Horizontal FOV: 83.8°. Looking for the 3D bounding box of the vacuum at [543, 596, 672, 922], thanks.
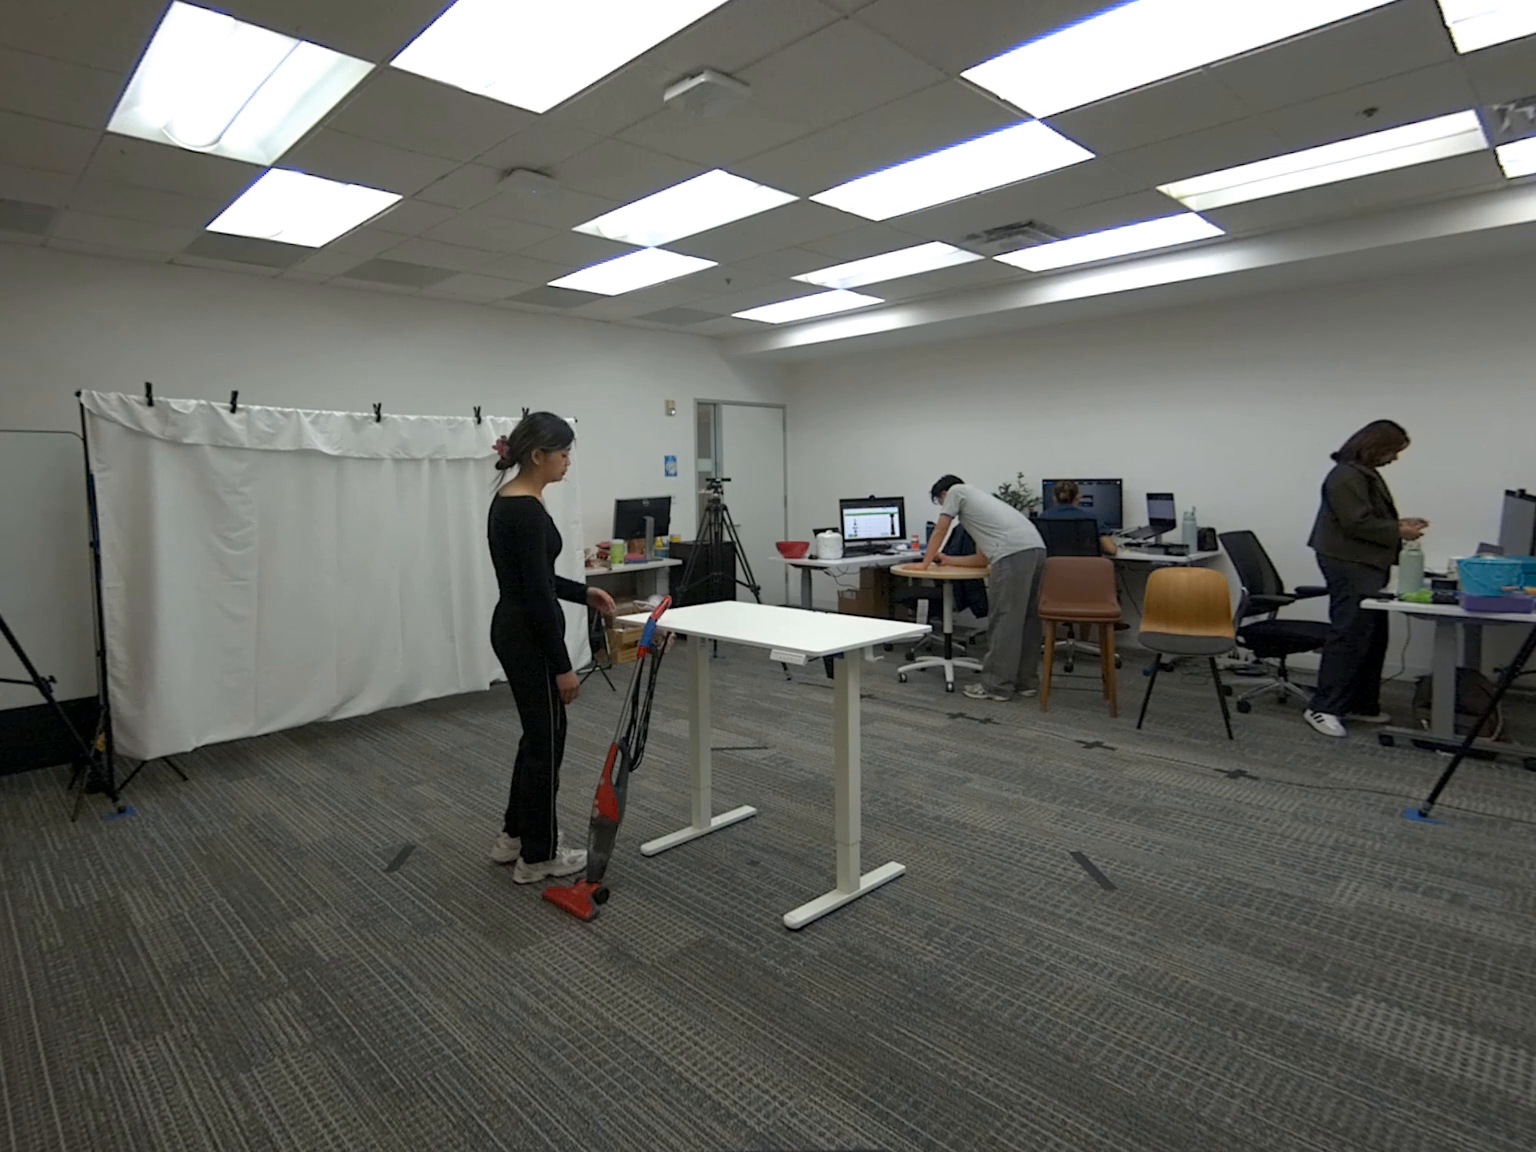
[{"bbox_3d":[-0.492,0.583,2.950,0.139,1.058,0.259,23,-16,-32],"label":"vacuum"}]
